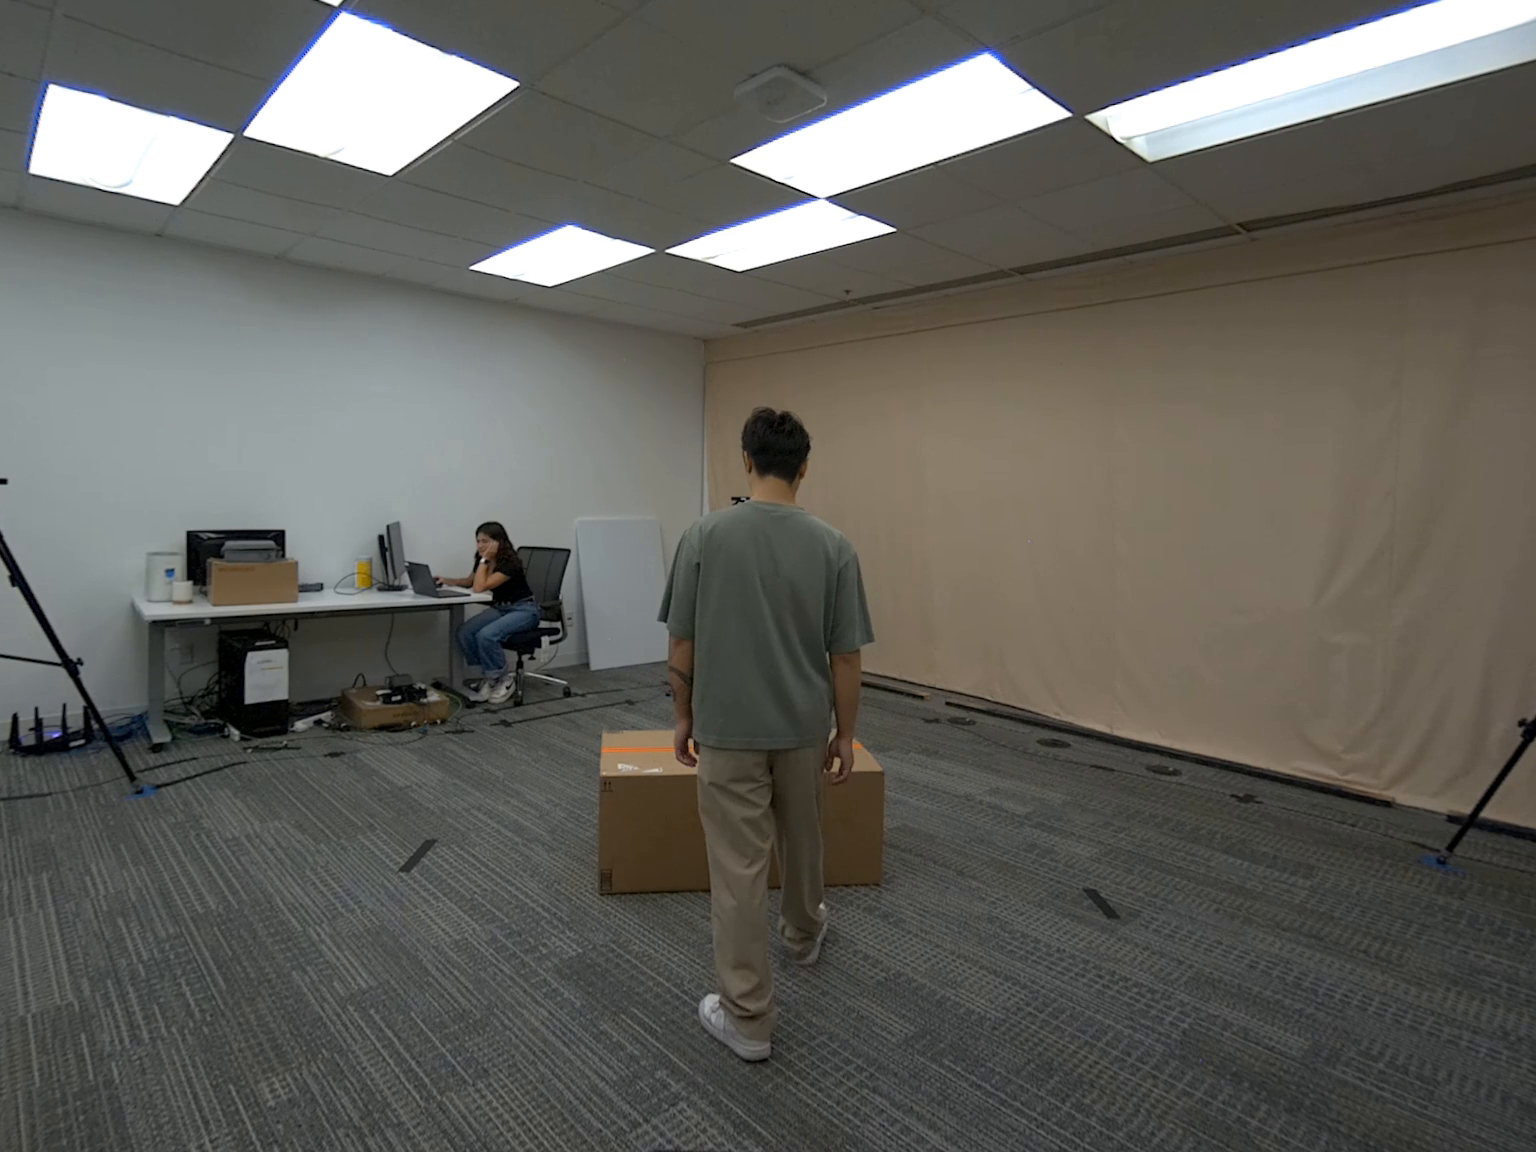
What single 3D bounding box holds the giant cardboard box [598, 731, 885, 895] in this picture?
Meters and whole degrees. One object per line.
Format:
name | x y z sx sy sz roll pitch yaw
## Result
giant cardboard box | -0.142 0.874 3.266 1.019 0.425 0.583 1 5 -8
